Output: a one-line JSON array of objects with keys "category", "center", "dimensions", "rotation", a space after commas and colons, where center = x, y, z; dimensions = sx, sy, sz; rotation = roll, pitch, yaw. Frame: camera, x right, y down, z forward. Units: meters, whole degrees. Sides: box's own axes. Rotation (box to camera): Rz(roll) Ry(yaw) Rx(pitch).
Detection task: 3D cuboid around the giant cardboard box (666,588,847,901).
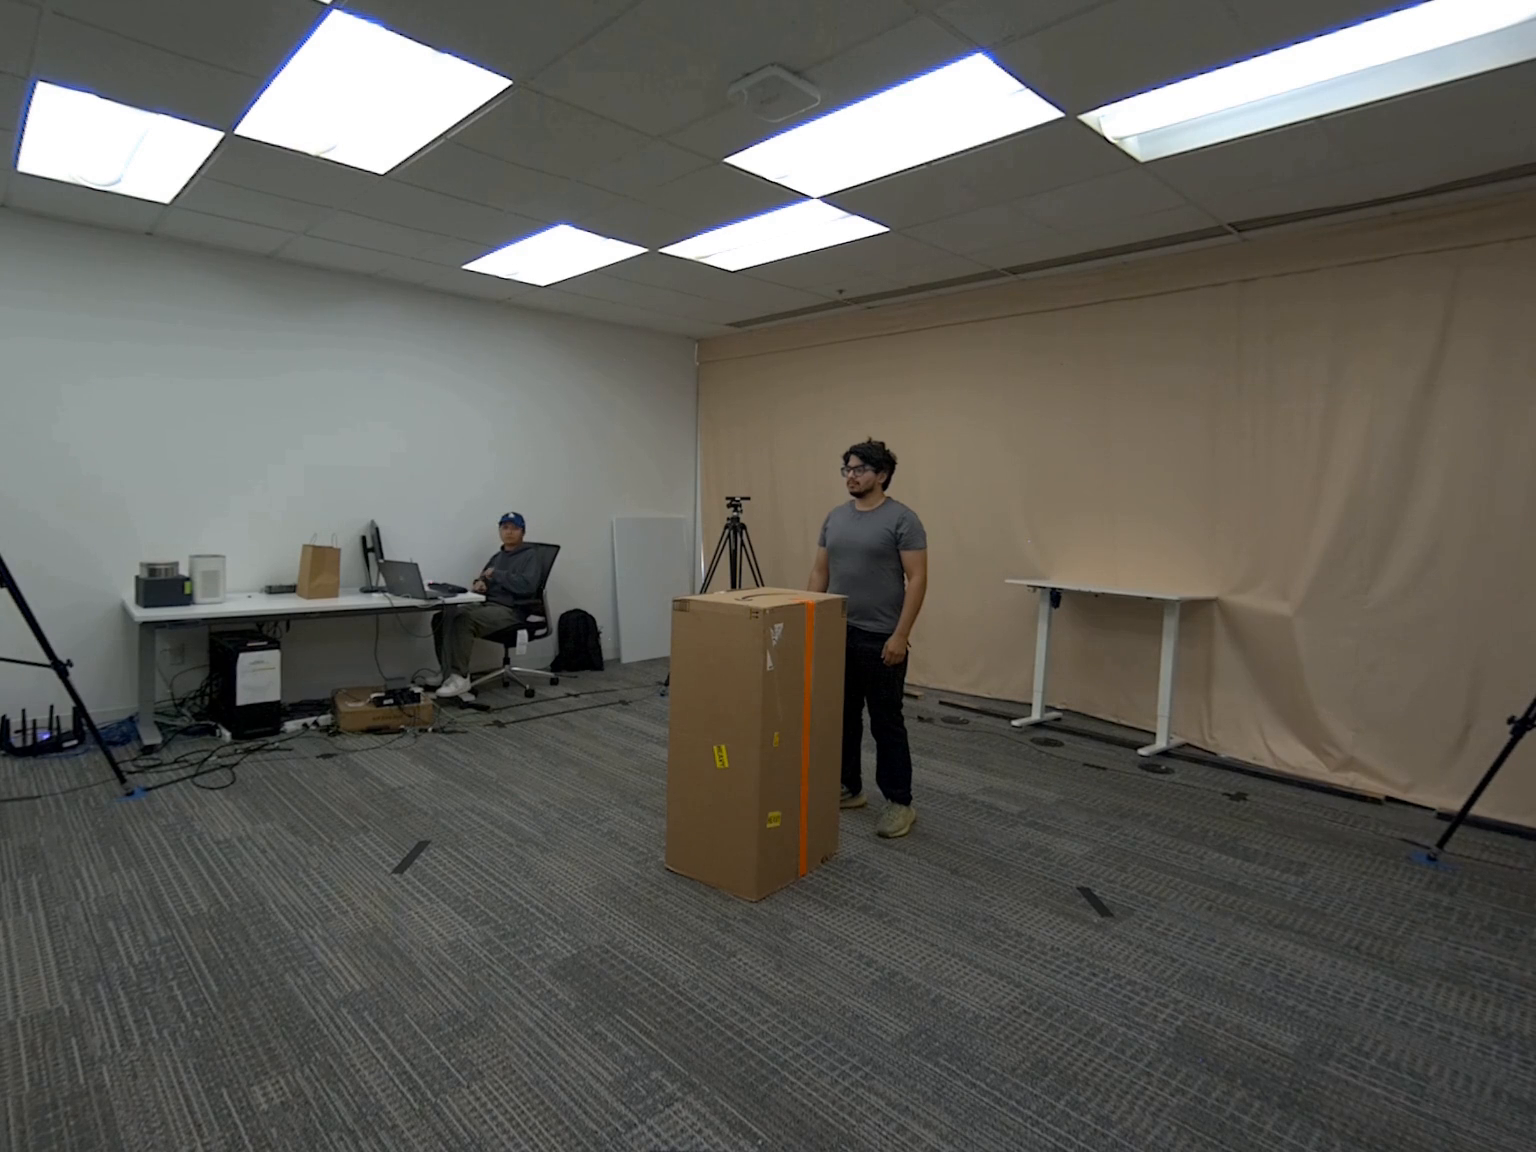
[{"category": "giant cardboard box", "center": [-0.042, 0.593, 3.223], "dimensions": [0.457, 1.025, 0.571], "rotation": [3, 3, 35]}]
